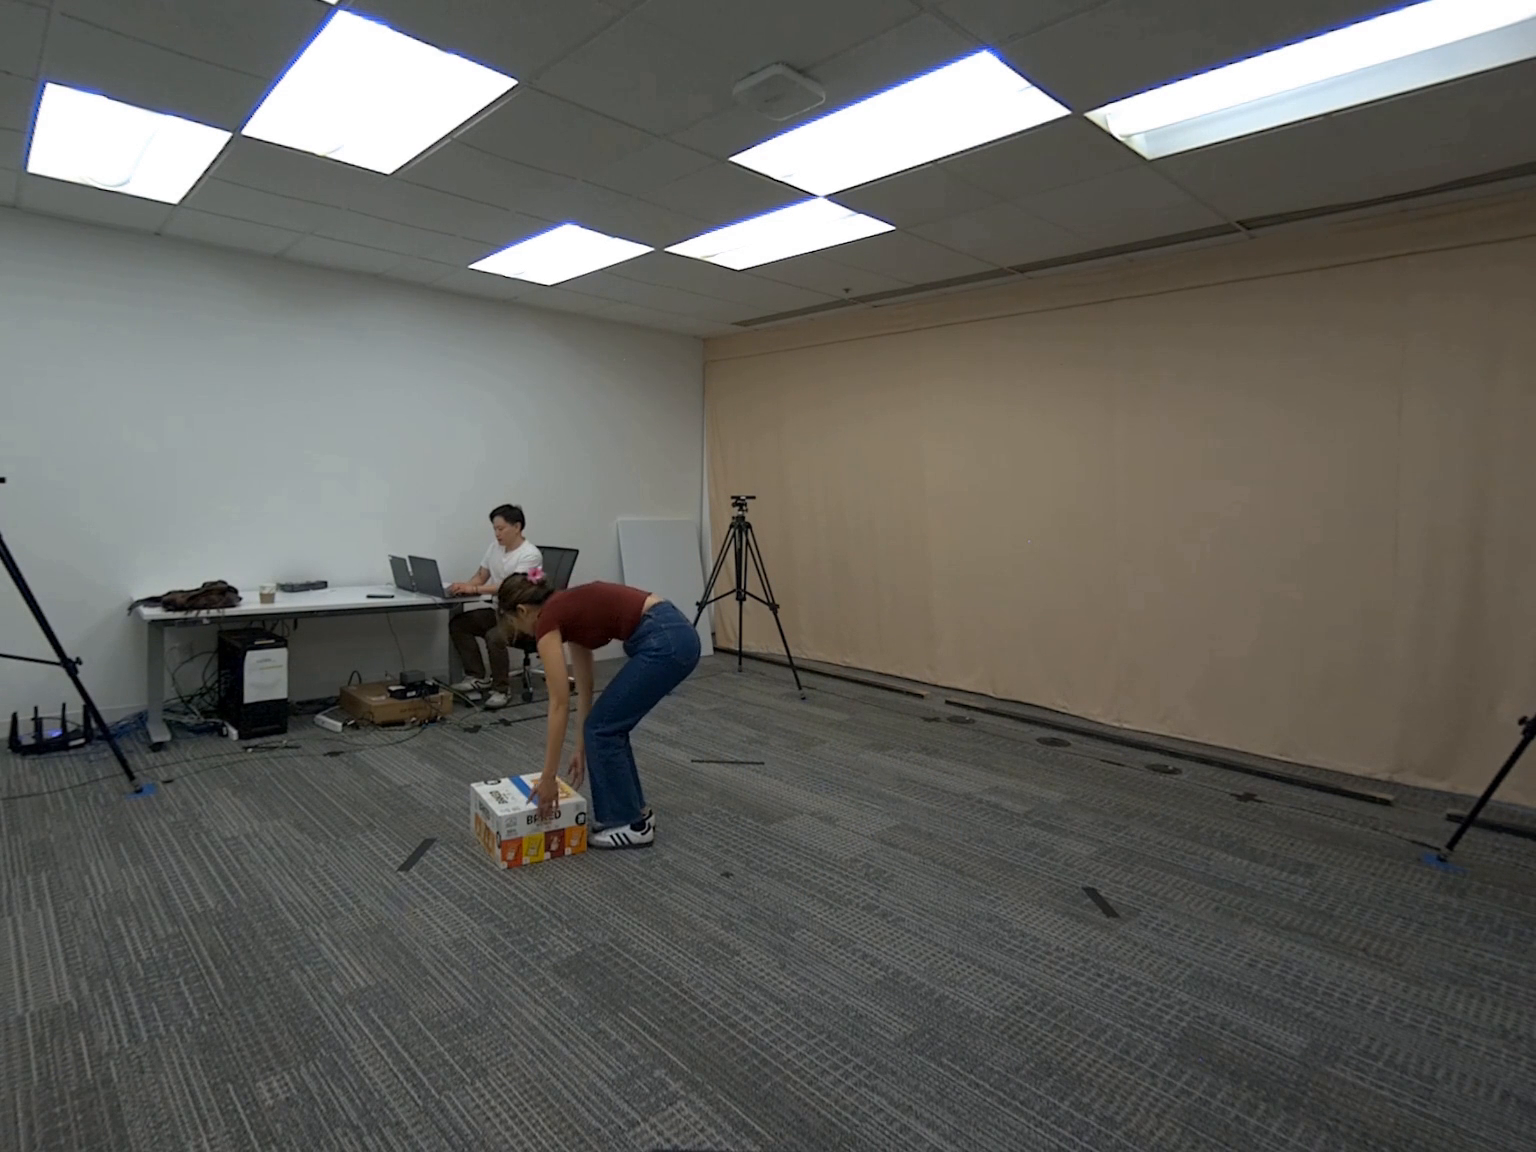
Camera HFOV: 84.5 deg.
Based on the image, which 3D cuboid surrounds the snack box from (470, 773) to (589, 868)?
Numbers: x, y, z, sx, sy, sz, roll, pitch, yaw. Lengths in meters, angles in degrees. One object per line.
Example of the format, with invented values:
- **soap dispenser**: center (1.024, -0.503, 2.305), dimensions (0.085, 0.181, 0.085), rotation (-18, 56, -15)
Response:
- **snack box**: center (-0.973, 0.949, 3.353), dimensions (0.333, 0.205, 0.415), rotation (-1, 6, -34)
